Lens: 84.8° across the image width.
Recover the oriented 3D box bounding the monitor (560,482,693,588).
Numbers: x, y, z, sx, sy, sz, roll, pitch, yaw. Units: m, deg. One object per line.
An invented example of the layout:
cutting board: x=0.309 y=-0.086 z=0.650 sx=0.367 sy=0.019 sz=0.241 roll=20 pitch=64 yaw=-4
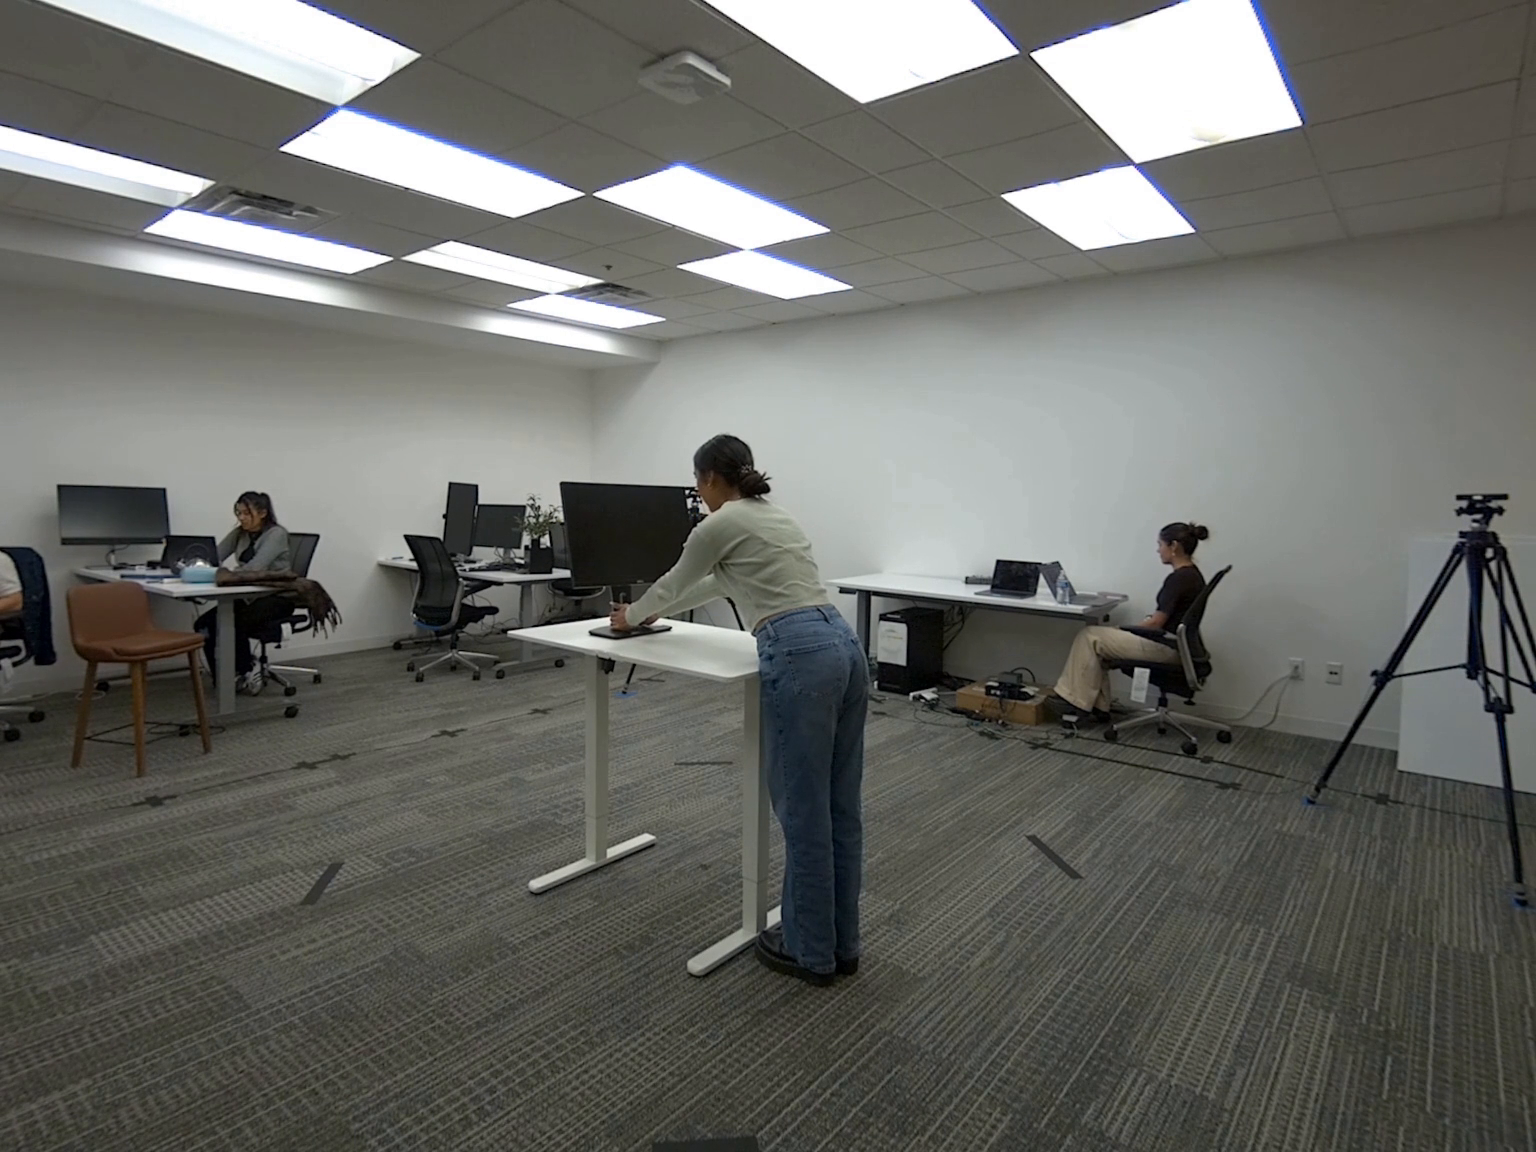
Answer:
monitor: x=-0.499 y=-0.060 z=2.953 sx=0.193 sy=0.522 sz=0.522 roll=2 pitch=3 yaw=43
